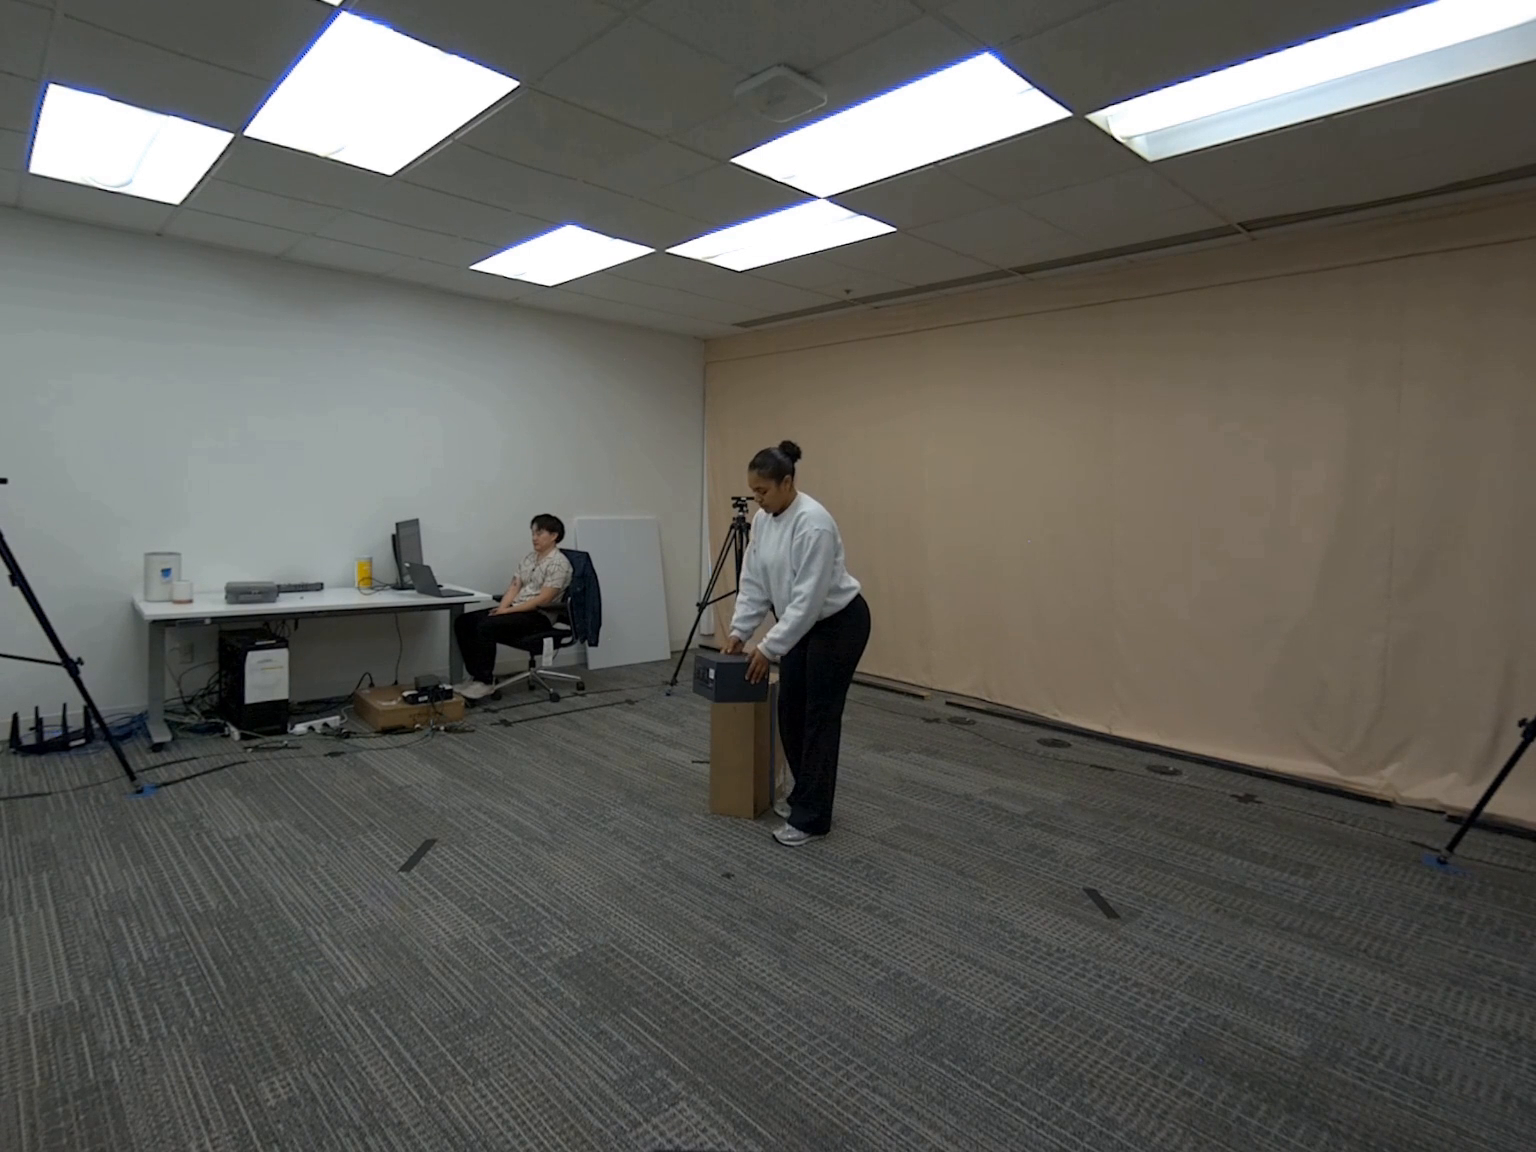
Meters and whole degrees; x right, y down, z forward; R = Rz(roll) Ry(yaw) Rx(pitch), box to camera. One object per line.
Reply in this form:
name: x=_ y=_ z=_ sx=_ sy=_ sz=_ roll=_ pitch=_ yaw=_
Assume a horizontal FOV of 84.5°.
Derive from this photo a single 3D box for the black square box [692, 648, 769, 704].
black square box: x=-0.157 y=0.401 z=3.311 sx=0.223 sy=0.156 sz=0.221 roll=3 pitch=1 yaw=-28
